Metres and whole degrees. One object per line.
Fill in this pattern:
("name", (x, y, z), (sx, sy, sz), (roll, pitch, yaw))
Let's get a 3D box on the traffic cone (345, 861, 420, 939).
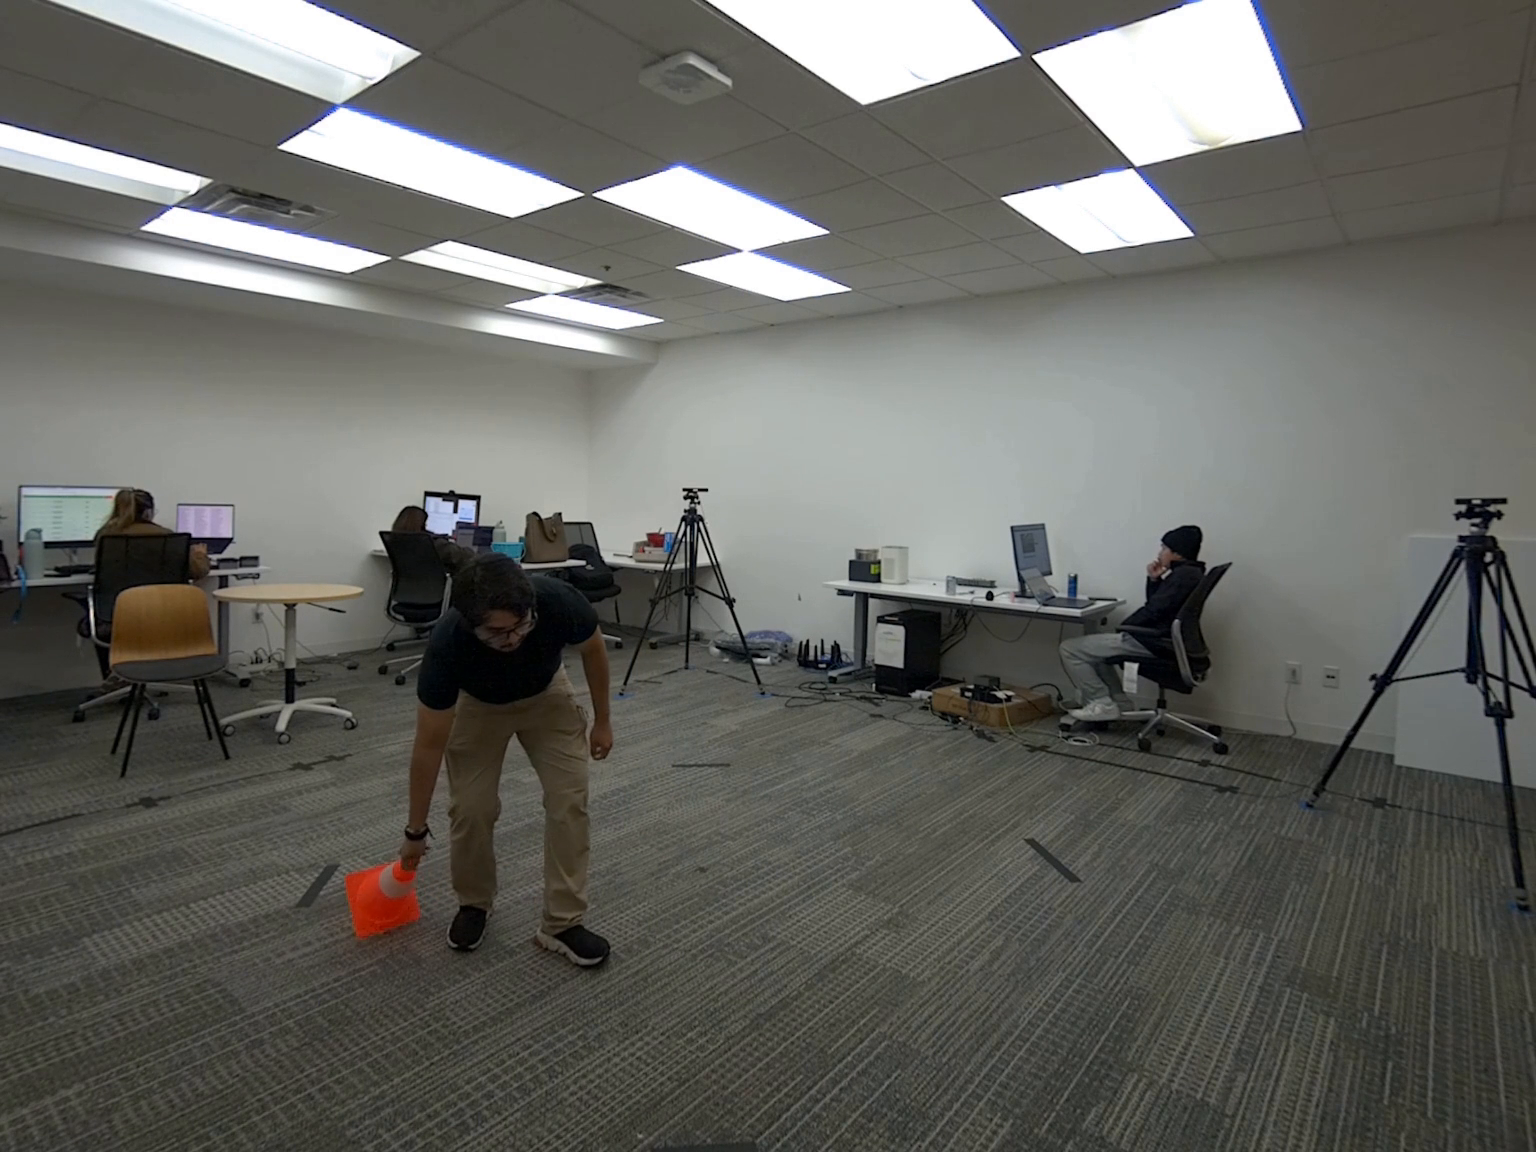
("traffic cone", (-1.127, 0.916, 2.576), (0.197, 0.211, 0.383), (-5, -32, -42))
